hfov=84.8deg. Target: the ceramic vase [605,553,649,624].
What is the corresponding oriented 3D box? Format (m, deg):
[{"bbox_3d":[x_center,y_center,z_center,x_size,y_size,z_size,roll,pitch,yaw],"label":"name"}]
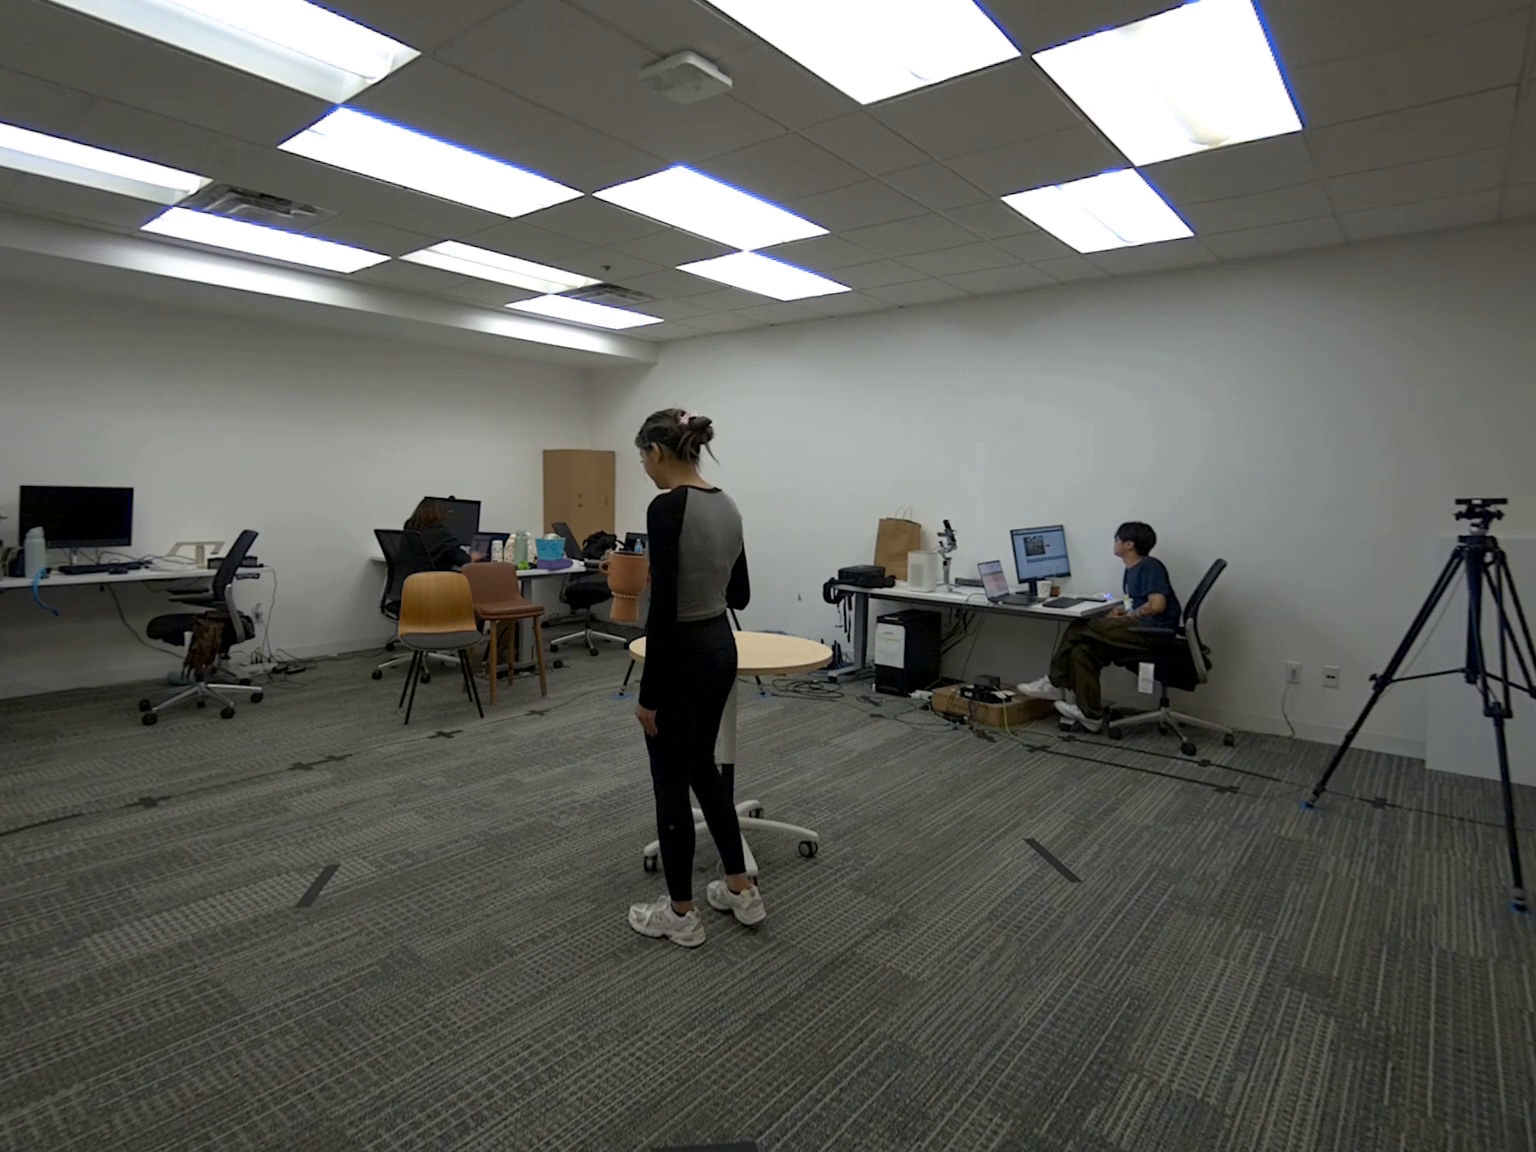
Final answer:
[{"bbox_3d":[-0.488,0.033,2.853,0.162,0.219,0.132,7,6,18],"label":"ceramic vase"}]
